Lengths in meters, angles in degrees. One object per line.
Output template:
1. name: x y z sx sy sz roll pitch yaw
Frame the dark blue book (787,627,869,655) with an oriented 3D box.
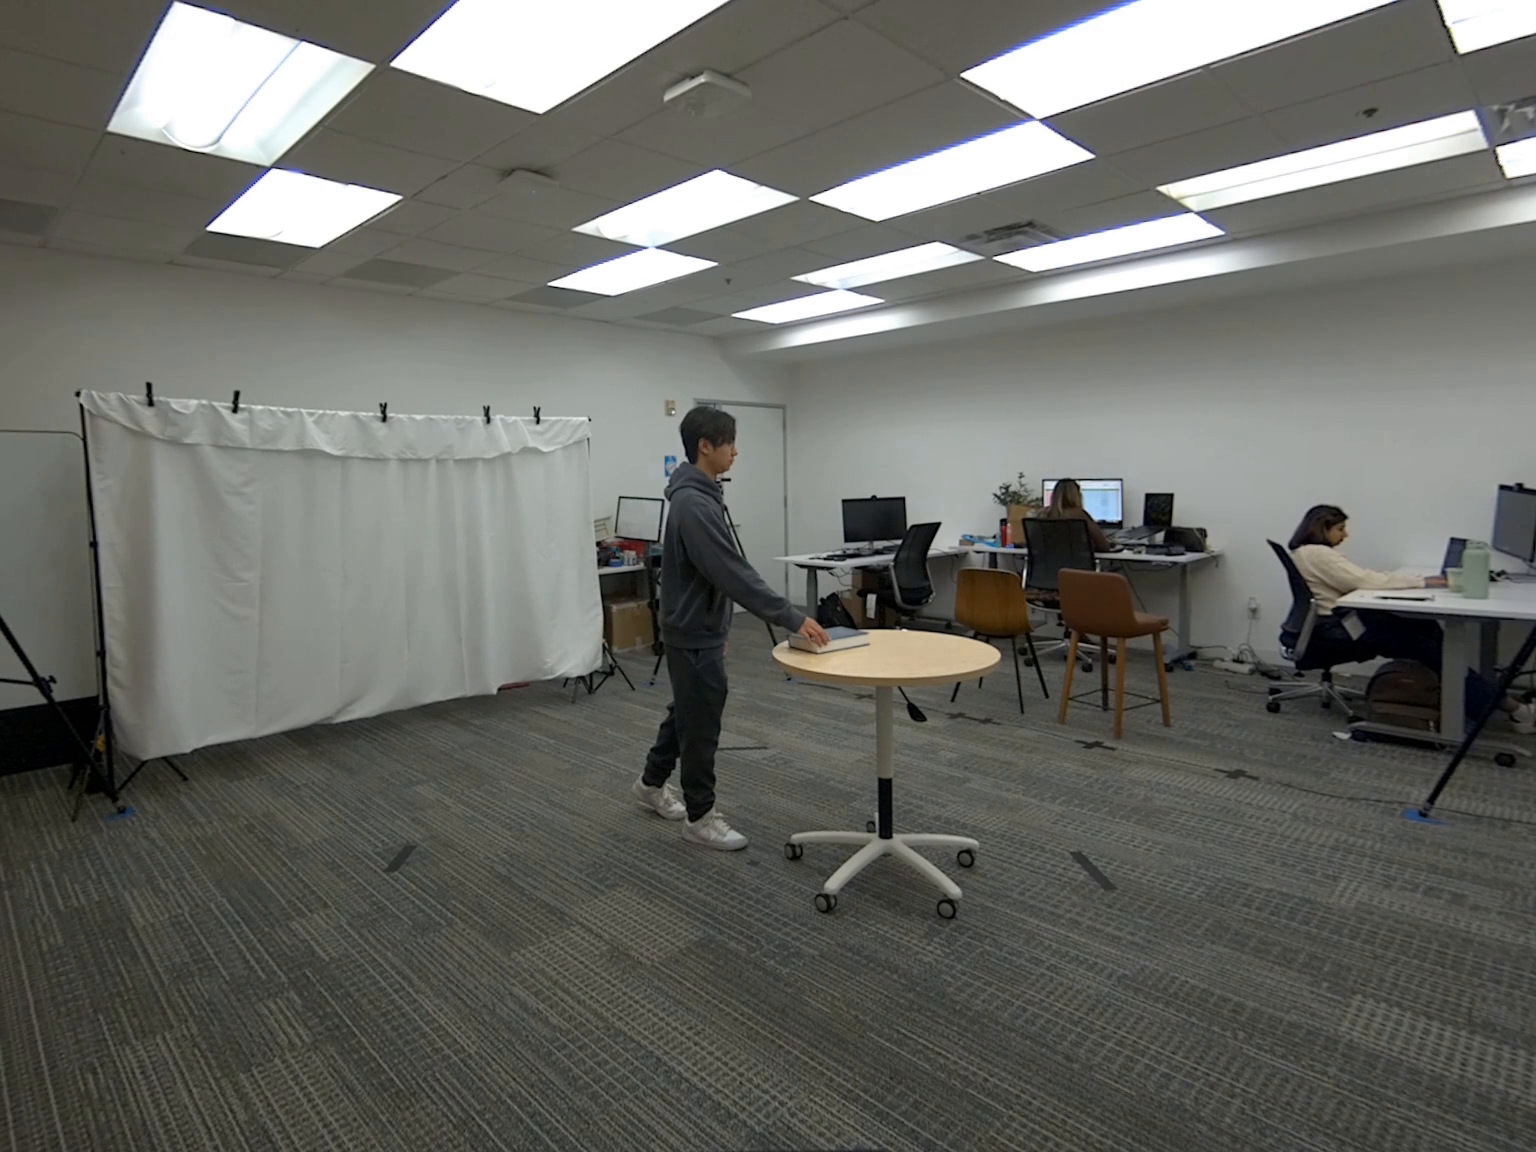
1. dark blue book: 0.220 0.232 3.038 0.239 0.045 0.168 -4 8 -33
